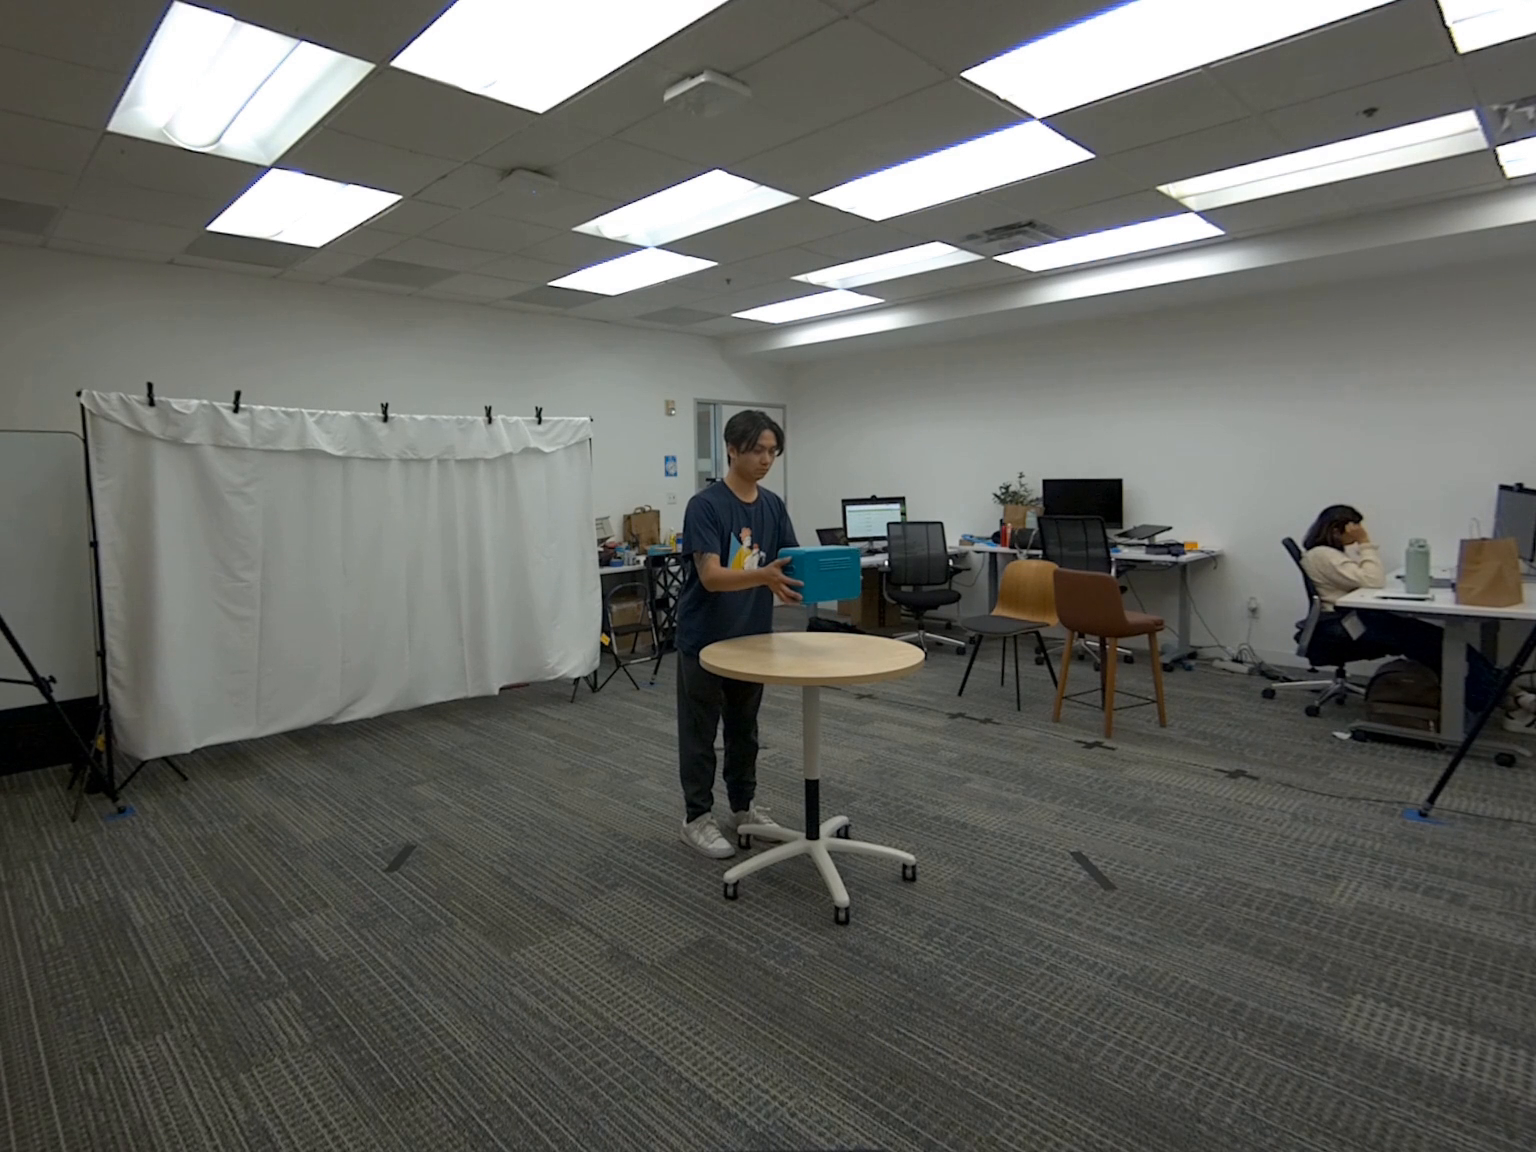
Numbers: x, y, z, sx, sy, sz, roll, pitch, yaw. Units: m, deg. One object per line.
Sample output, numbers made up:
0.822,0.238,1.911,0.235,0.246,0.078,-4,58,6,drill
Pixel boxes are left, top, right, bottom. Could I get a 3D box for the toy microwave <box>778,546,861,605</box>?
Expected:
0.172,-0.005,2.911,0.278,0.183,0.157,-4,5,-38,toy microwave
